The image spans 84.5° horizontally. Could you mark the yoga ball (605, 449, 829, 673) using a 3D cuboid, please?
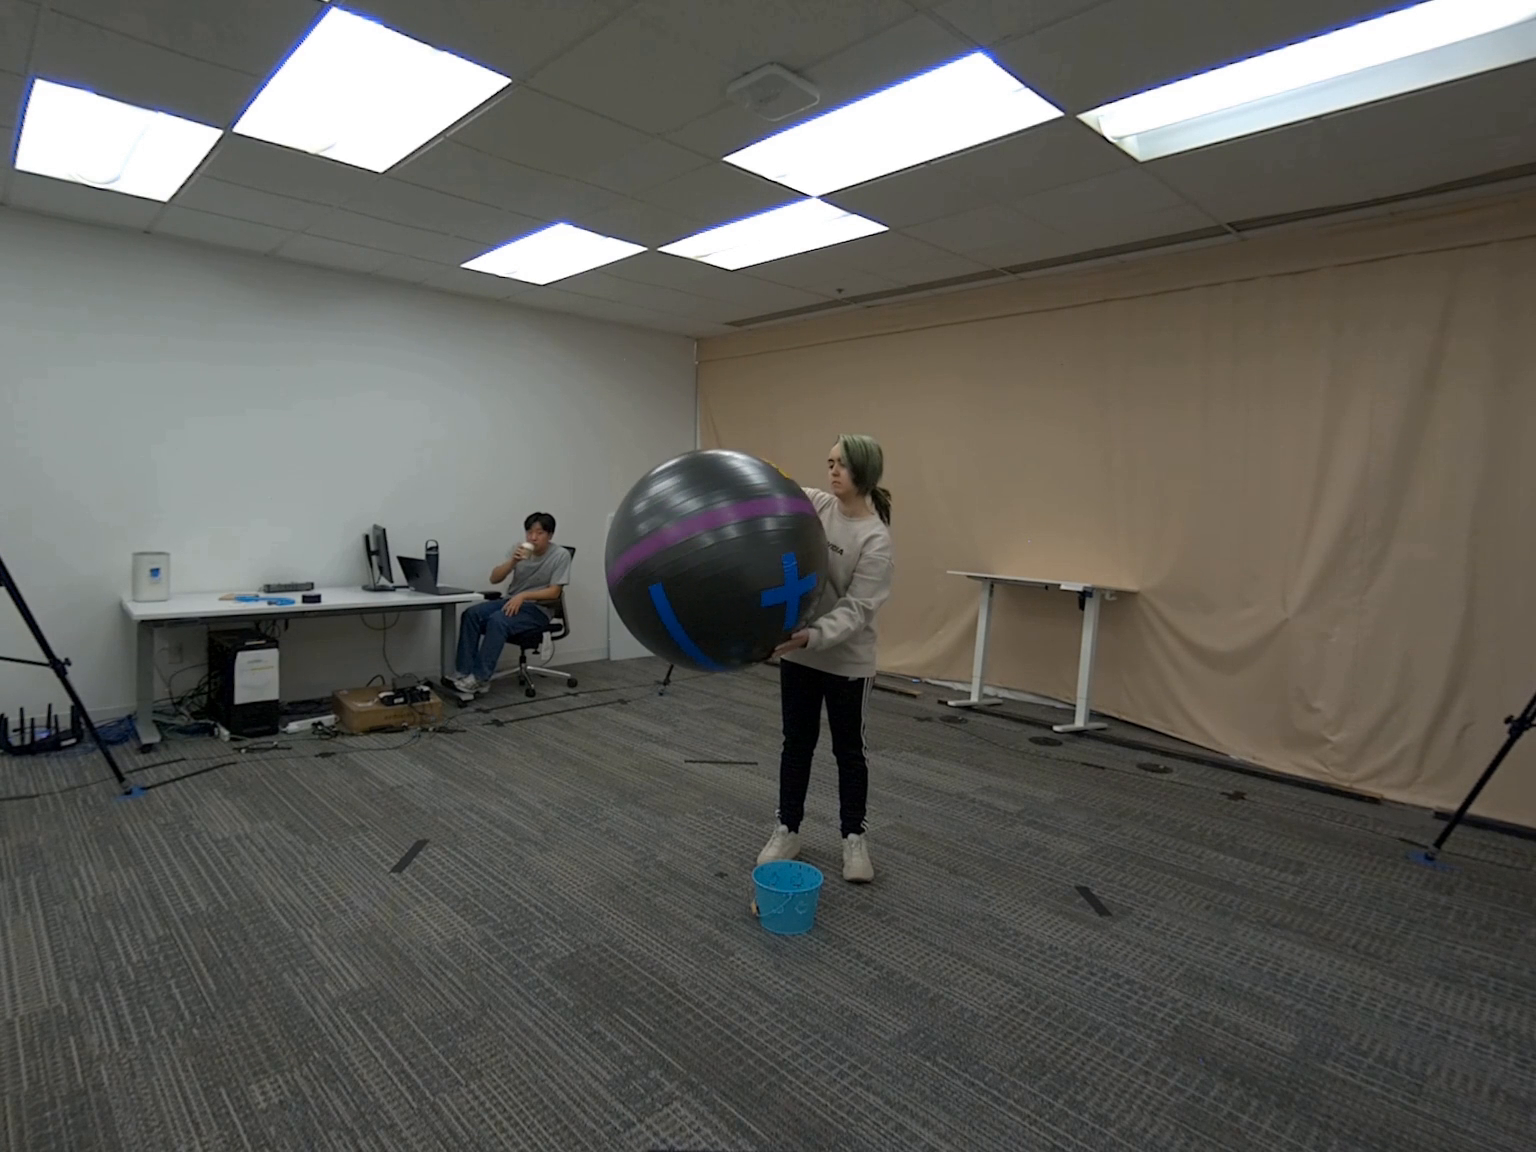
[{"bbox_3d":[-0.186,-0.052,2.861,0.757,0.756,0.761,1,4,-1],"label":"yoga ball"}]
